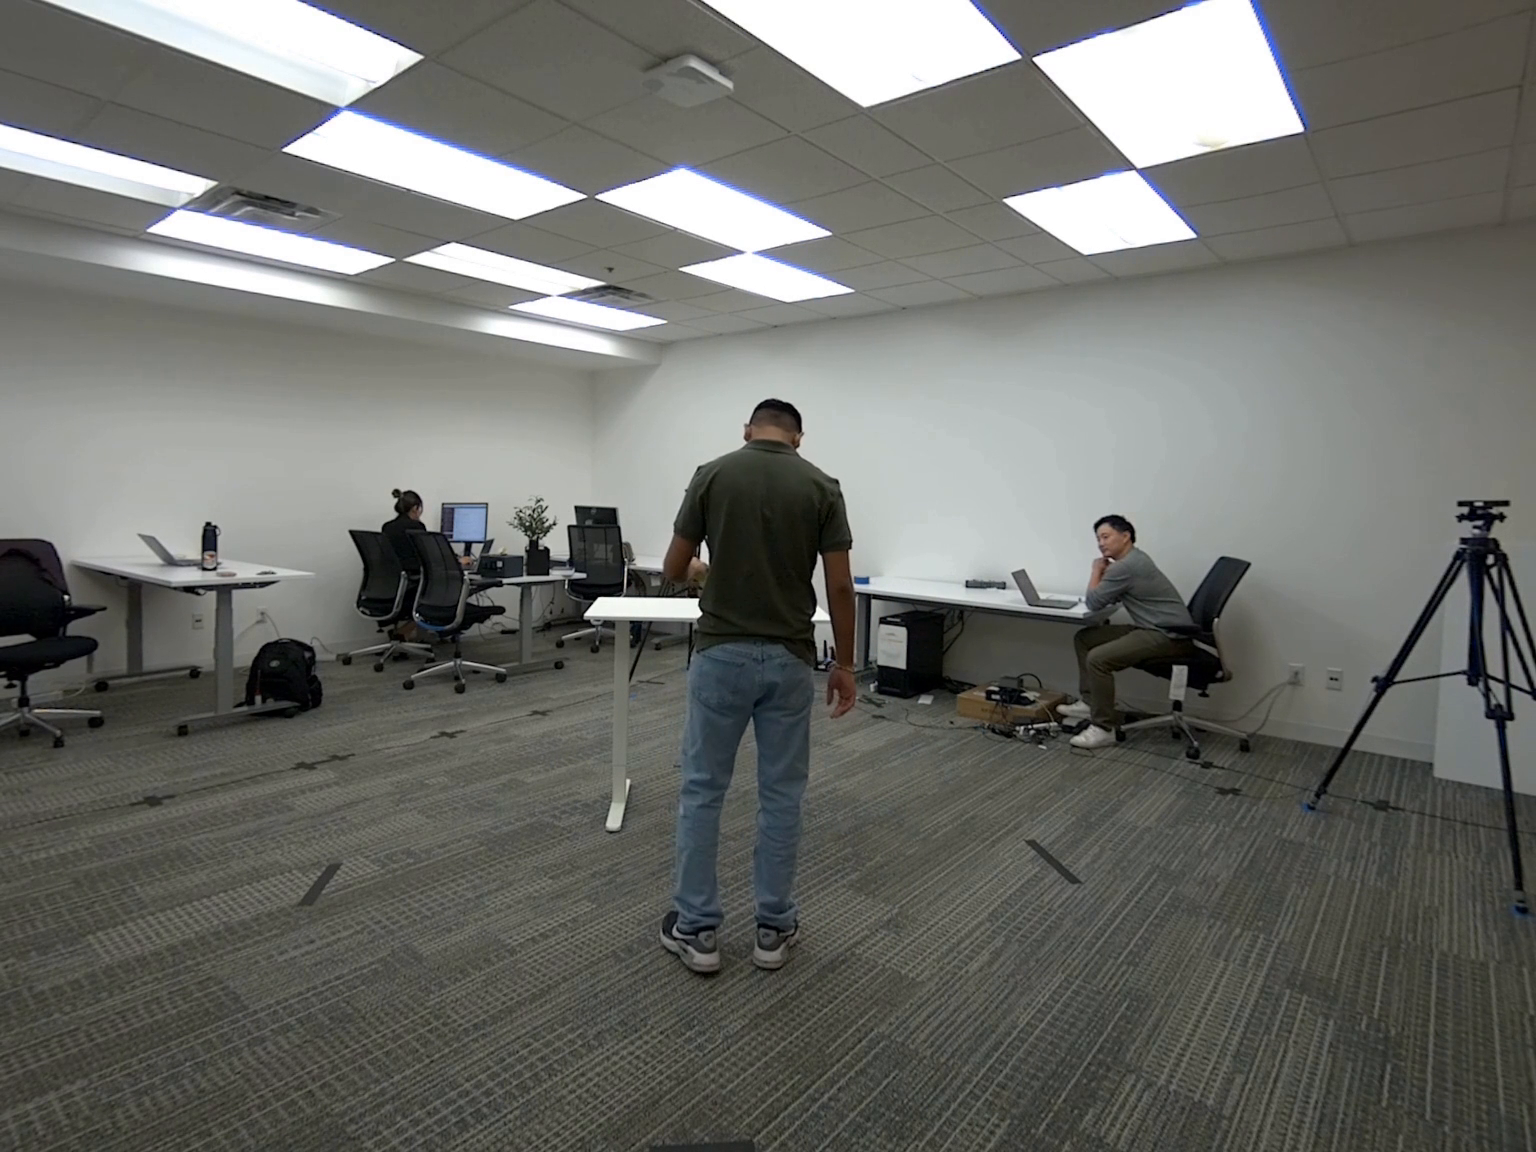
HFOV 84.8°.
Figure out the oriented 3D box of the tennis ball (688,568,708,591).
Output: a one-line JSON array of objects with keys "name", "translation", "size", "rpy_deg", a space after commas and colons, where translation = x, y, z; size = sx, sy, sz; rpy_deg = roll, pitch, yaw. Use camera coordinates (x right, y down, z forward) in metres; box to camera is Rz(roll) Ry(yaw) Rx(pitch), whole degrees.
[{"name": "tennis ball", "translation": [-0.241, 0.009, 2.898], "size": [0.066, 0.066, 0.067], "rpy_deg": [1, 4, -2]}]
